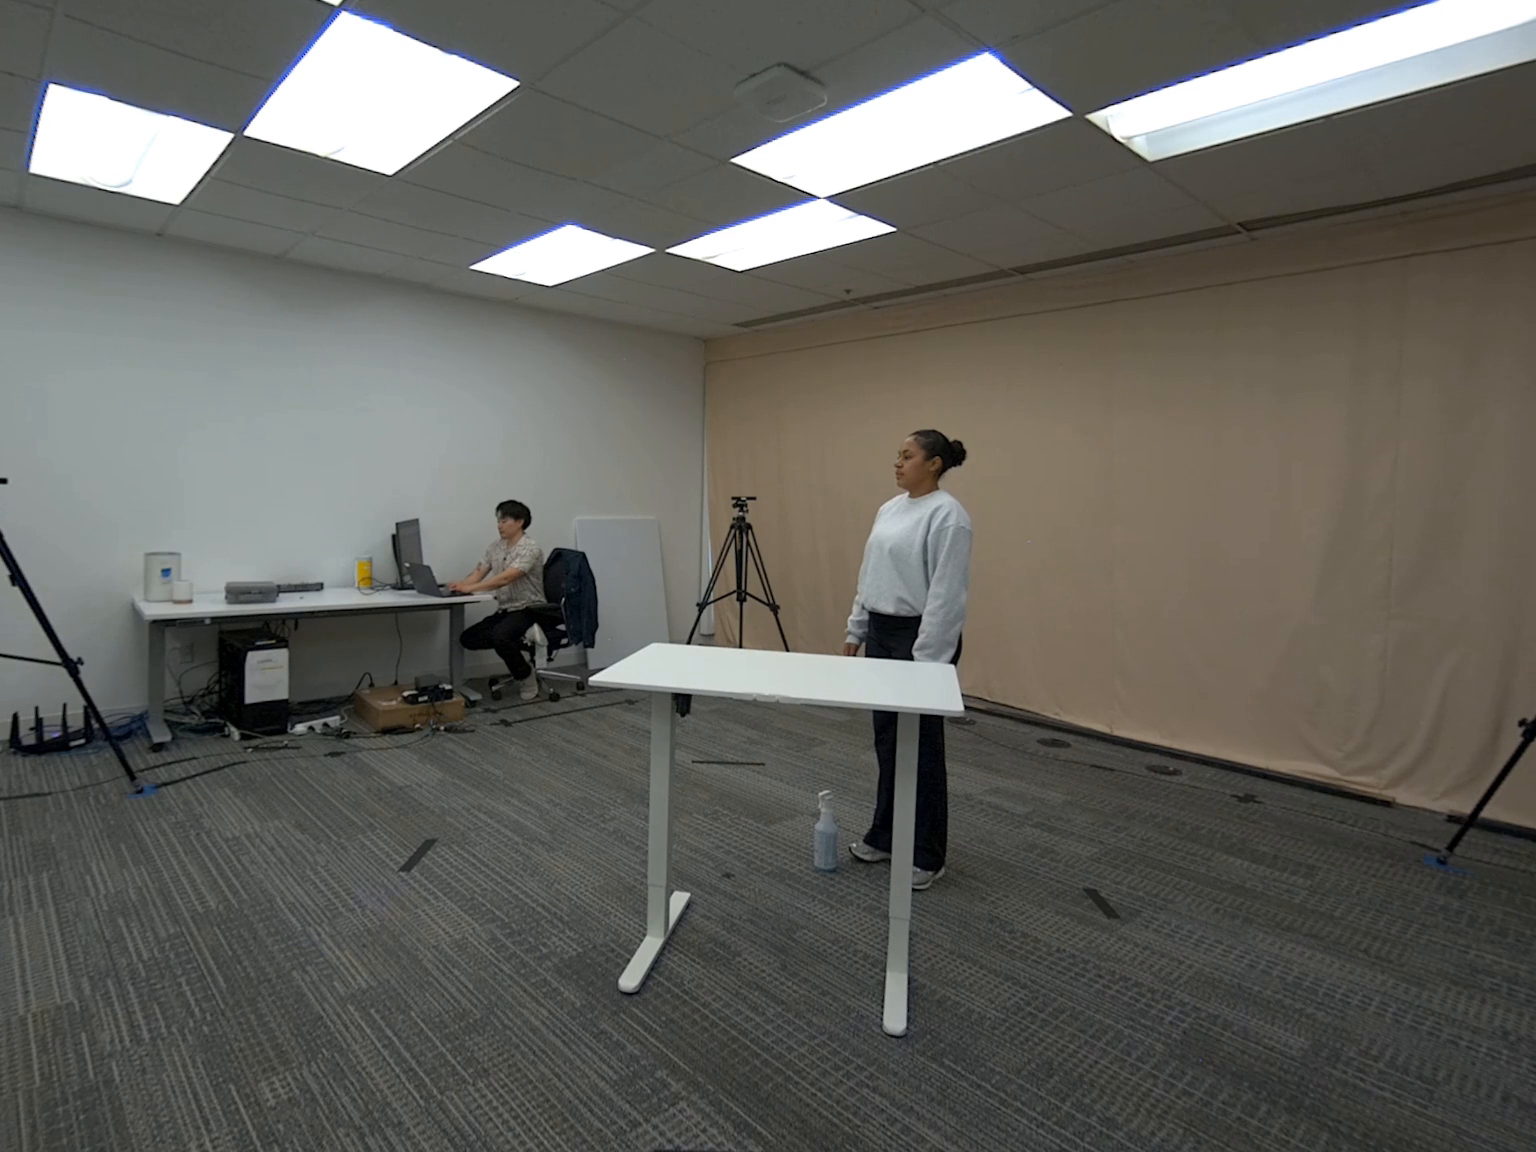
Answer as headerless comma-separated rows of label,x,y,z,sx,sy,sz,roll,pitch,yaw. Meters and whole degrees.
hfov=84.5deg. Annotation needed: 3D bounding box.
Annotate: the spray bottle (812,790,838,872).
spray bottle,0.211,0.953,3.183,0.088,0.296,0.089,-4,5,-25
